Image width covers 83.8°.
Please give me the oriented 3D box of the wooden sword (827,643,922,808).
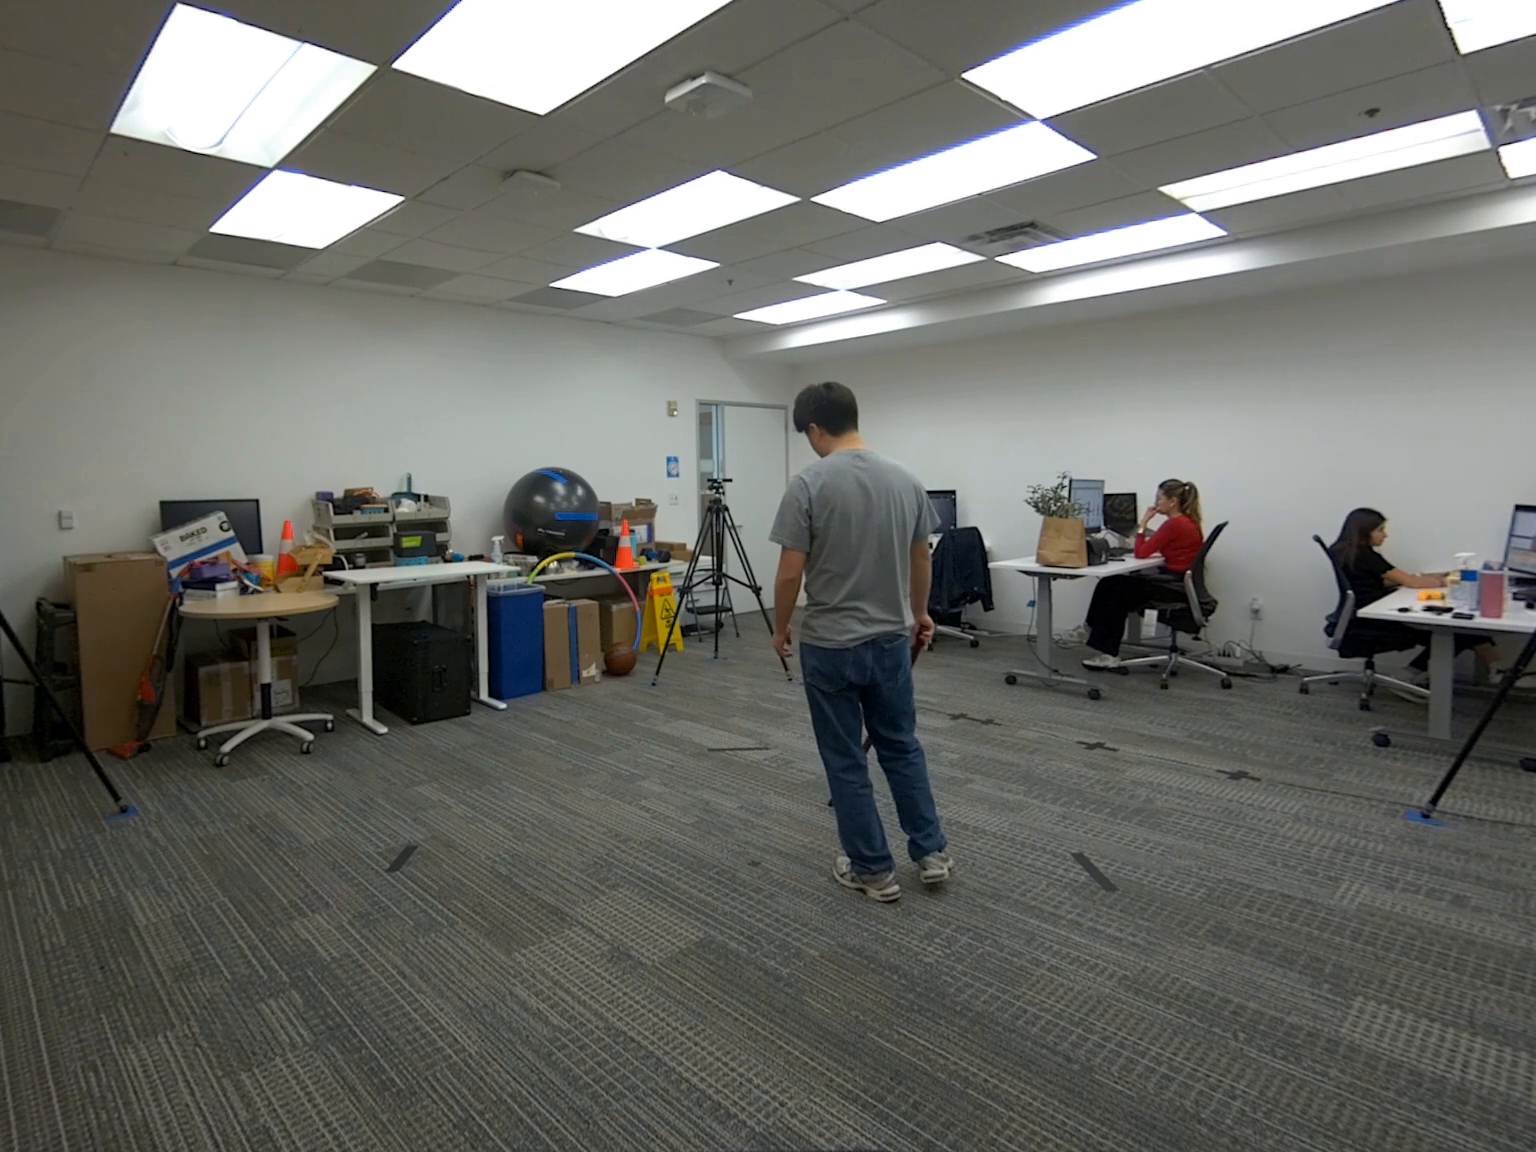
[{"bbox_3d":[0.424,0.608,3.382,0.052,1.010,0.024,33,35,15],"label":"wooden sword"}]
